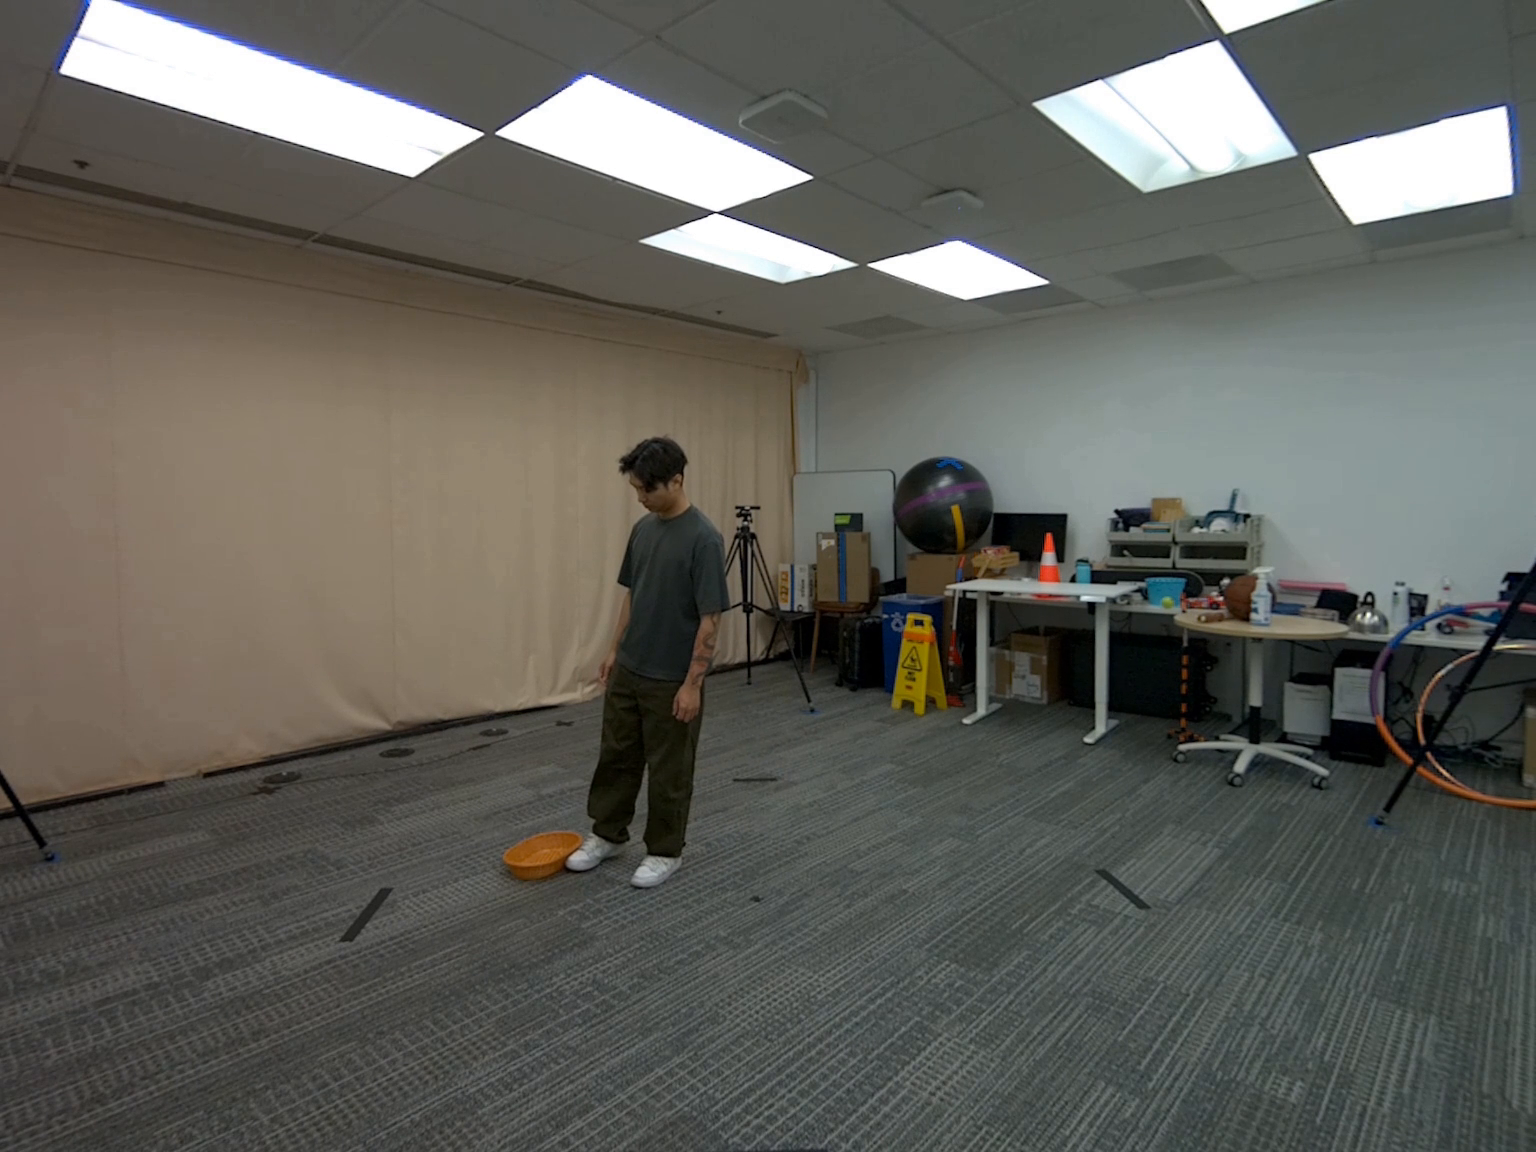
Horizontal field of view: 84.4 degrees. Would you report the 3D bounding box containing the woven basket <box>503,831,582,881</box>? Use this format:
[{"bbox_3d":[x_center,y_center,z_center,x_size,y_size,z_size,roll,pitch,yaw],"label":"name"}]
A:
[{"bbox_3d":[-0.875,1.092,3.276,0.259,0.073,0.342,-1,4,27],"label":"woven basket"}]
